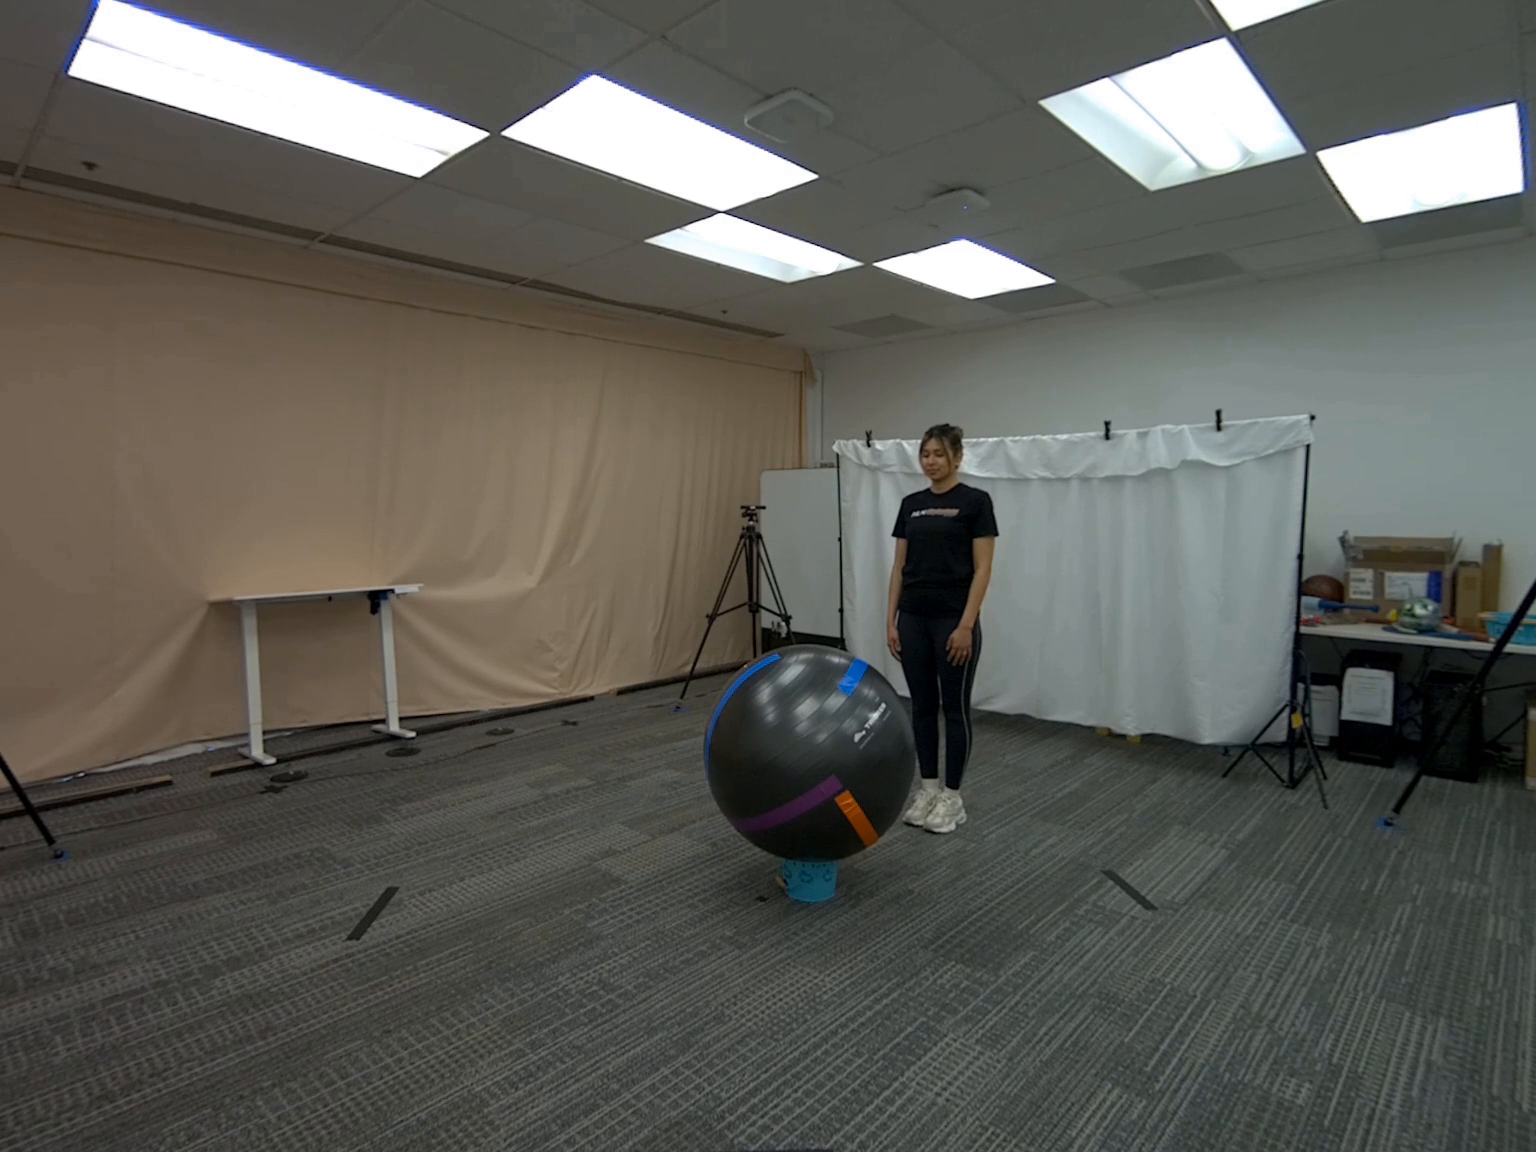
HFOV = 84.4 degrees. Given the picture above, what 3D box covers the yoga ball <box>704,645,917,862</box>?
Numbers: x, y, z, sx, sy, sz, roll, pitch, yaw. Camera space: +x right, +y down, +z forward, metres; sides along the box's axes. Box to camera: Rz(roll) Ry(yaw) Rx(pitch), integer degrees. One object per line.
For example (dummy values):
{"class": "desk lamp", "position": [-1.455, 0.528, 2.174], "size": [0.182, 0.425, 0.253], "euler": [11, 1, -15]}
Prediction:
{"class": "yoga ball", "position": [0.147, 0.628, 3.024], "size": [0.757, 0.756, 0.760], "euler": [0, 4, -2]}
